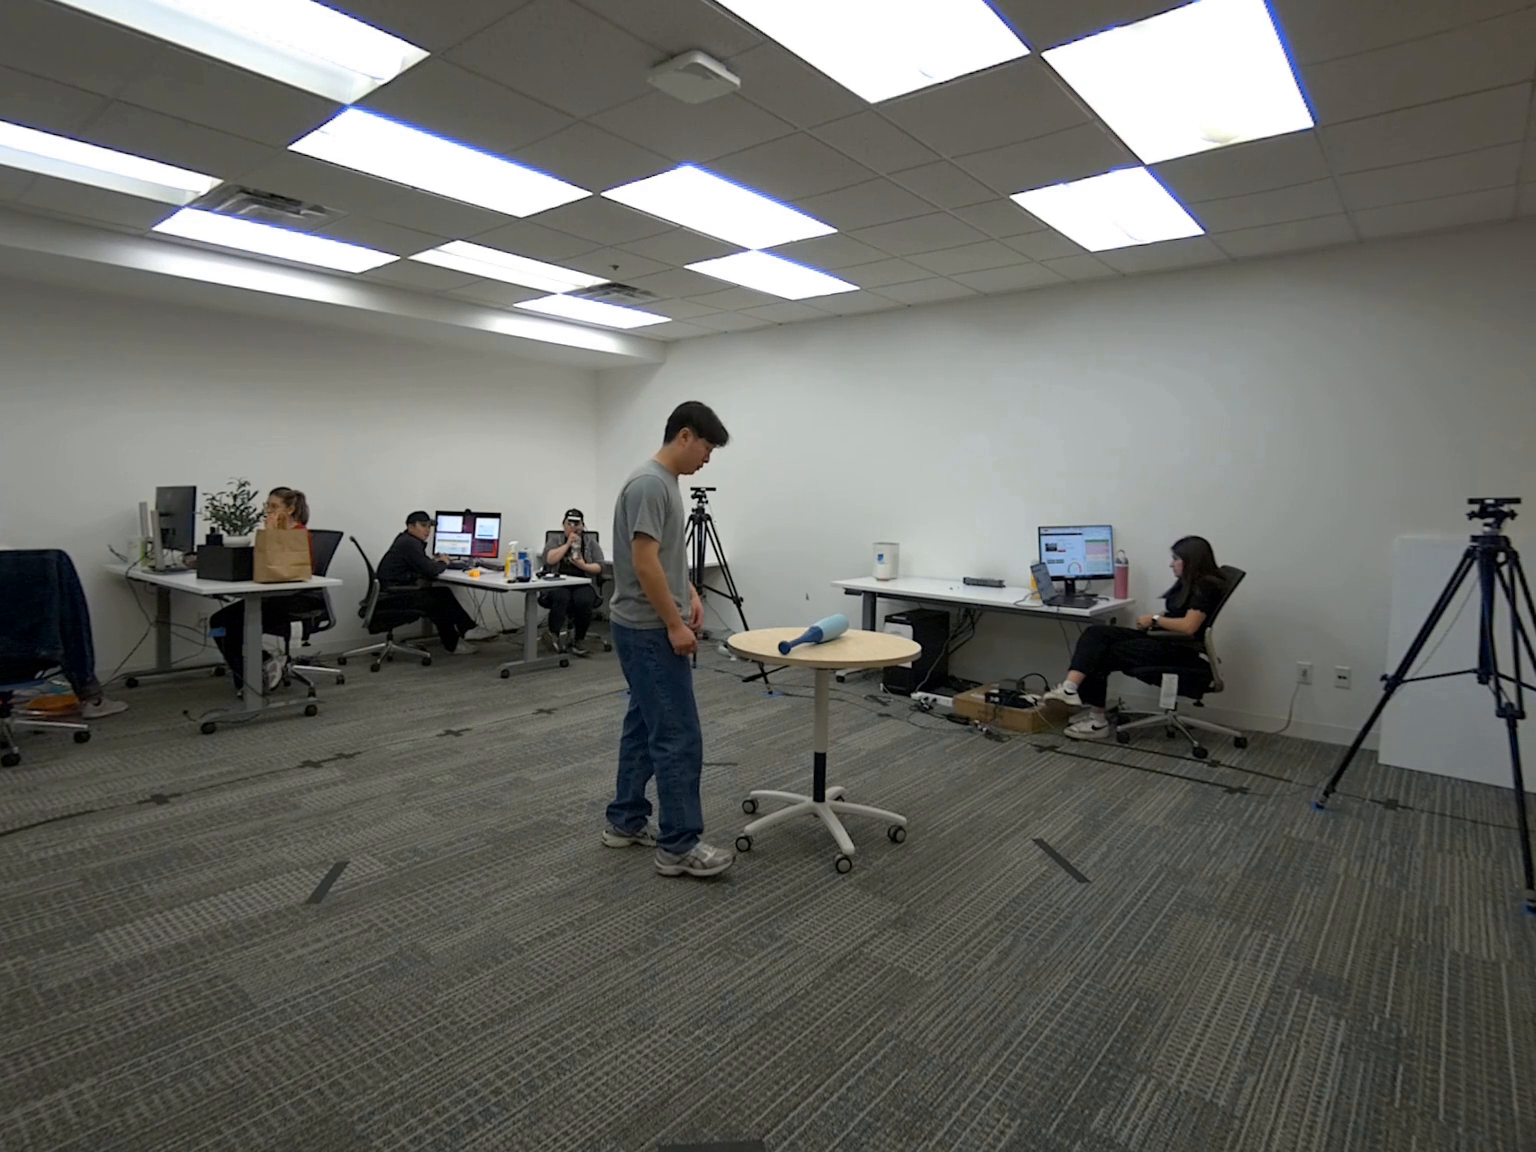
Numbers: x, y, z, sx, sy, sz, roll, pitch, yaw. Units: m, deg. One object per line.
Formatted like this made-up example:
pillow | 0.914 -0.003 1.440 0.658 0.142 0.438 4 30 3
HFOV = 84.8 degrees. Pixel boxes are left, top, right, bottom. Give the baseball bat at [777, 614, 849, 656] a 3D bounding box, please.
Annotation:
baseball bat | 0.172 0.236 3.341 0.091 0.088 0.531 3 9 28
